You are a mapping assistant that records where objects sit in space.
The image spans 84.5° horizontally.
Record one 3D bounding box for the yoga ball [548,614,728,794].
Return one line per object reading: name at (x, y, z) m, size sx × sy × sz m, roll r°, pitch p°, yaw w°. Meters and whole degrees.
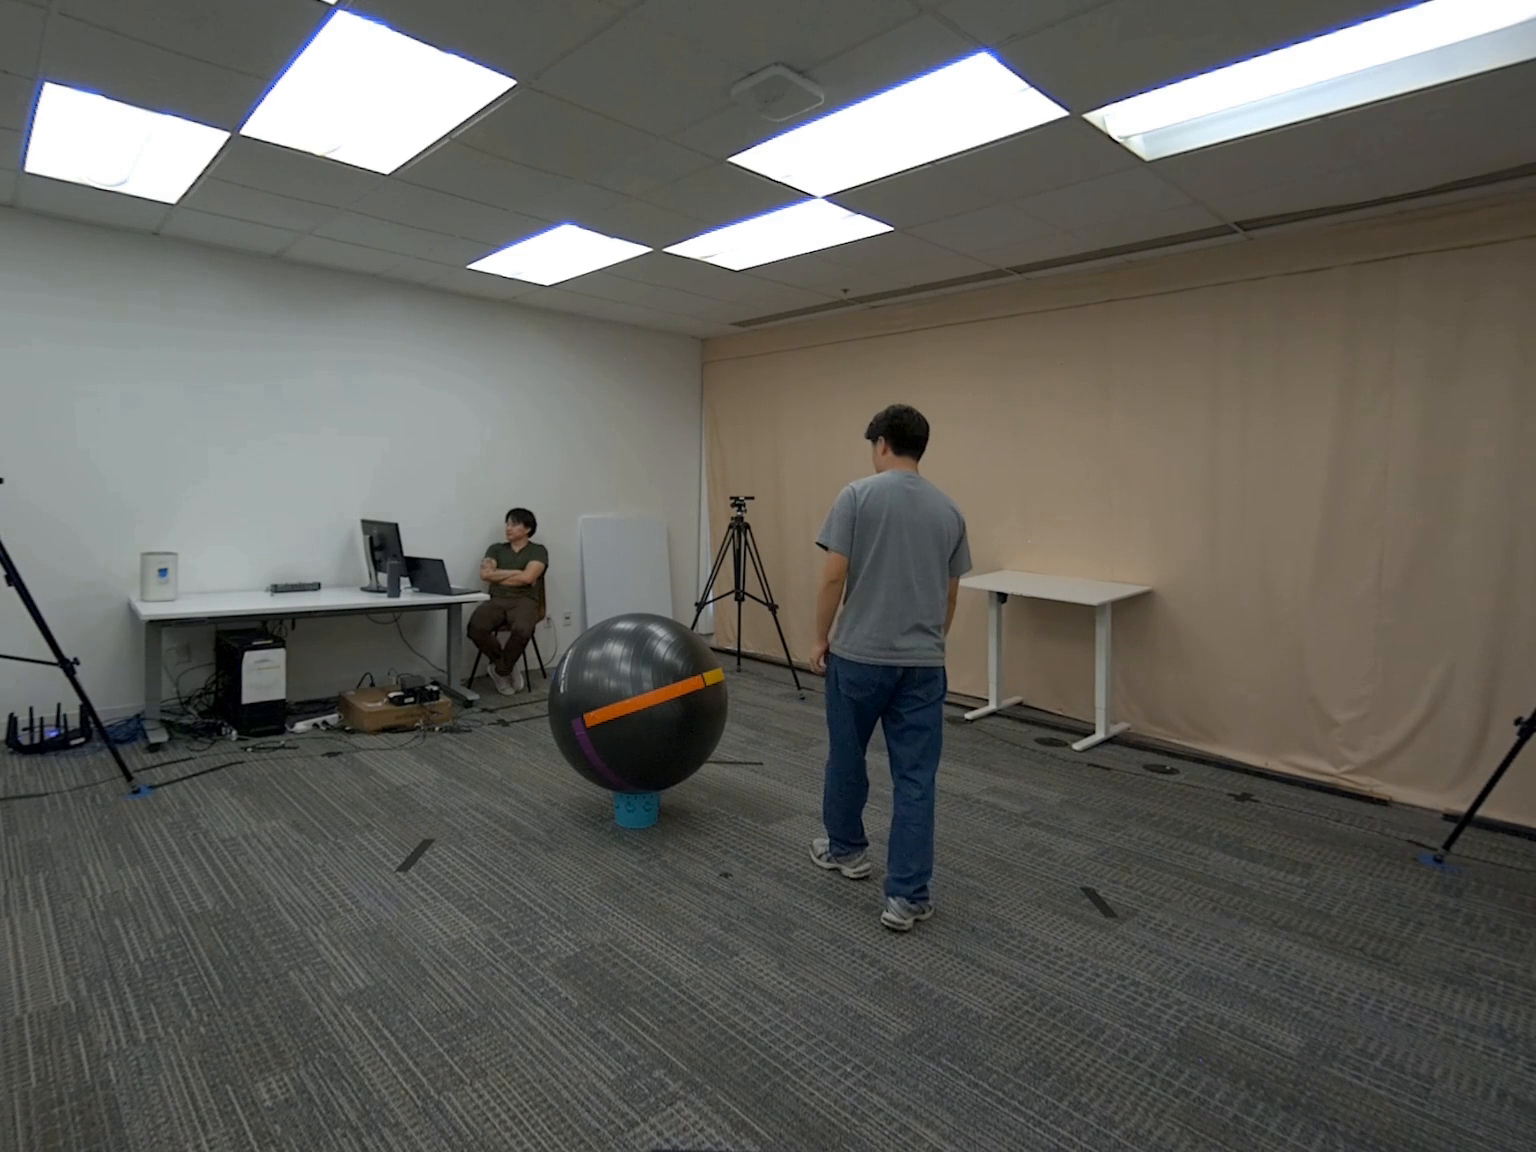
yoga ball at (-0.560, 0.539, 3.599) m, size 0.757 × 0.756 × 0.761 m, roll 1°, pitch 4°, yaw -1°
